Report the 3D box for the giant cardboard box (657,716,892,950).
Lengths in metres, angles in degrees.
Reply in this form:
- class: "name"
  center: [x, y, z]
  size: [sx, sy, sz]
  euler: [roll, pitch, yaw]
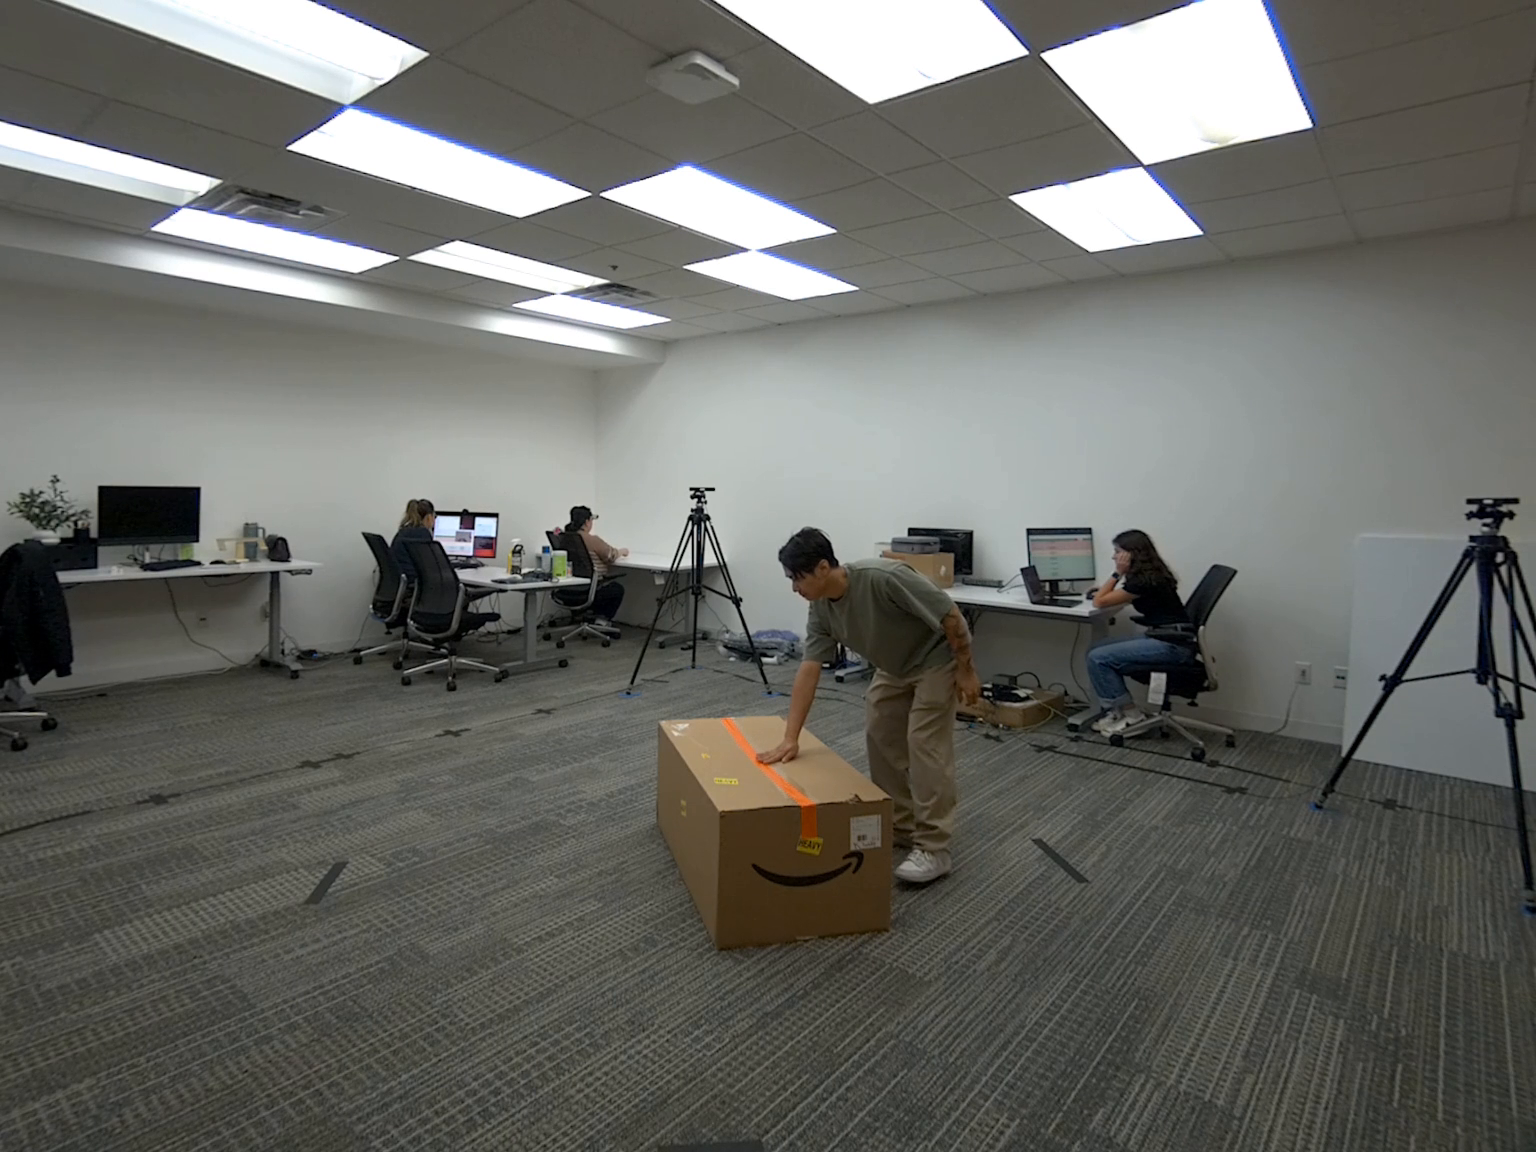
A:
- class: "giant cardboard box"
  center: [-0.042, 0.855, 3.102]
  size: [0.568, 0.424, 1.047]
  euler: [0, 5, -17]
